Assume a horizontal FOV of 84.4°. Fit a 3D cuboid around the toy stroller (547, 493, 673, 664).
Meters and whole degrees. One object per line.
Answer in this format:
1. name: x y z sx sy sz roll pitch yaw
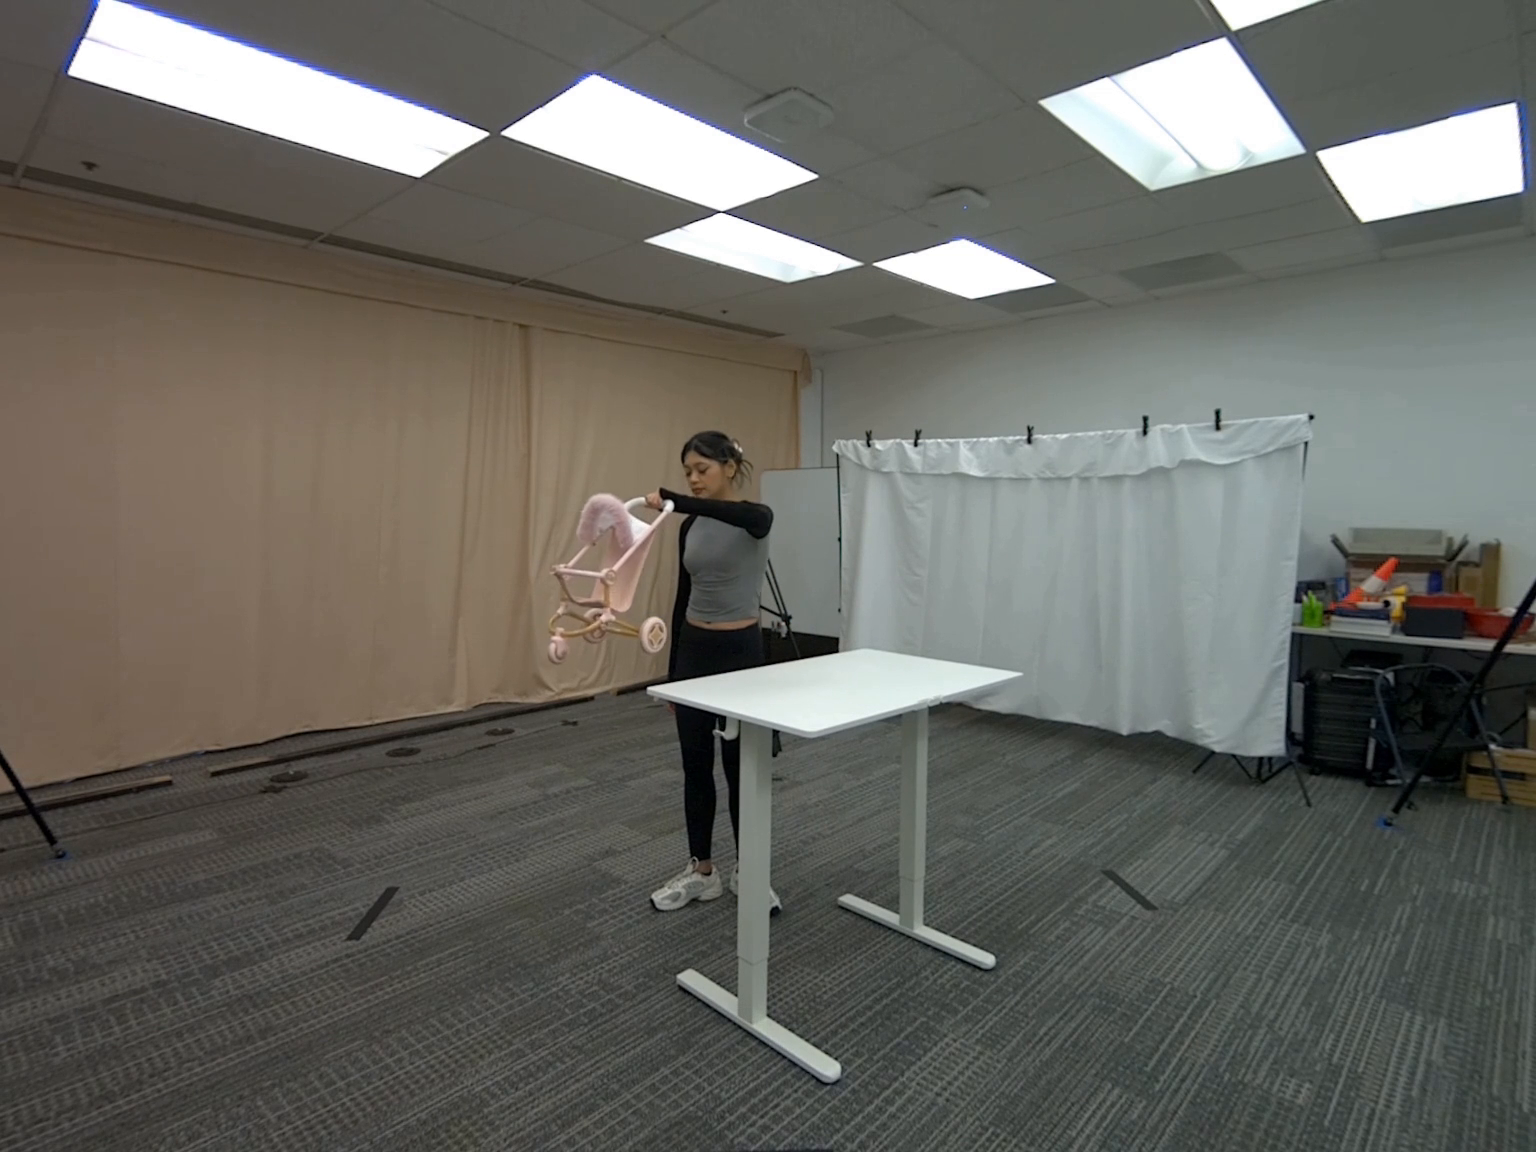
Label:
1. toy stroller: -0.478 -0.001 2.487 0.291 0.536 0.329 3 -7 41
